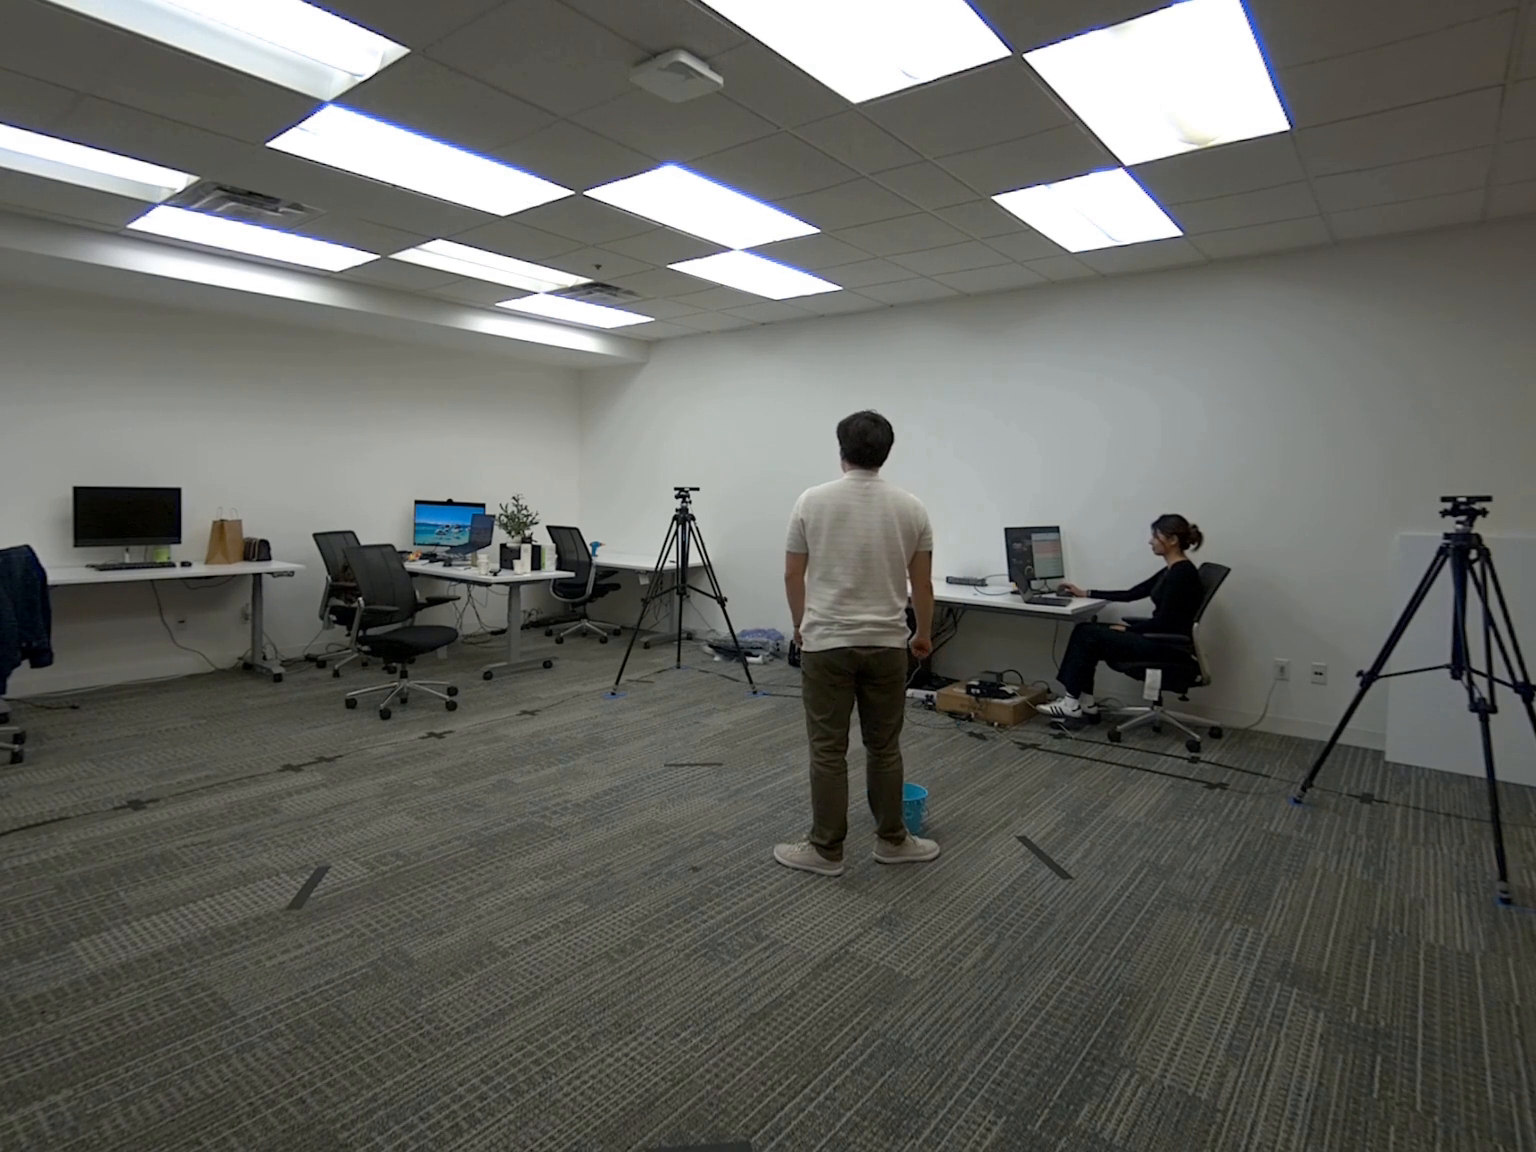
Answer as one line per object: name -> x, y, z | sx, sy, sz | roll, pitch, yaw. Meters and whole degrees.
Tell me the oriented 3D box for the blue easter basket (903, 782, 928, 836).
blue easter basket -> 0.548, 0.964, 3.543 | 0.243, 0.155, 0.245 | 1, 5, -2
